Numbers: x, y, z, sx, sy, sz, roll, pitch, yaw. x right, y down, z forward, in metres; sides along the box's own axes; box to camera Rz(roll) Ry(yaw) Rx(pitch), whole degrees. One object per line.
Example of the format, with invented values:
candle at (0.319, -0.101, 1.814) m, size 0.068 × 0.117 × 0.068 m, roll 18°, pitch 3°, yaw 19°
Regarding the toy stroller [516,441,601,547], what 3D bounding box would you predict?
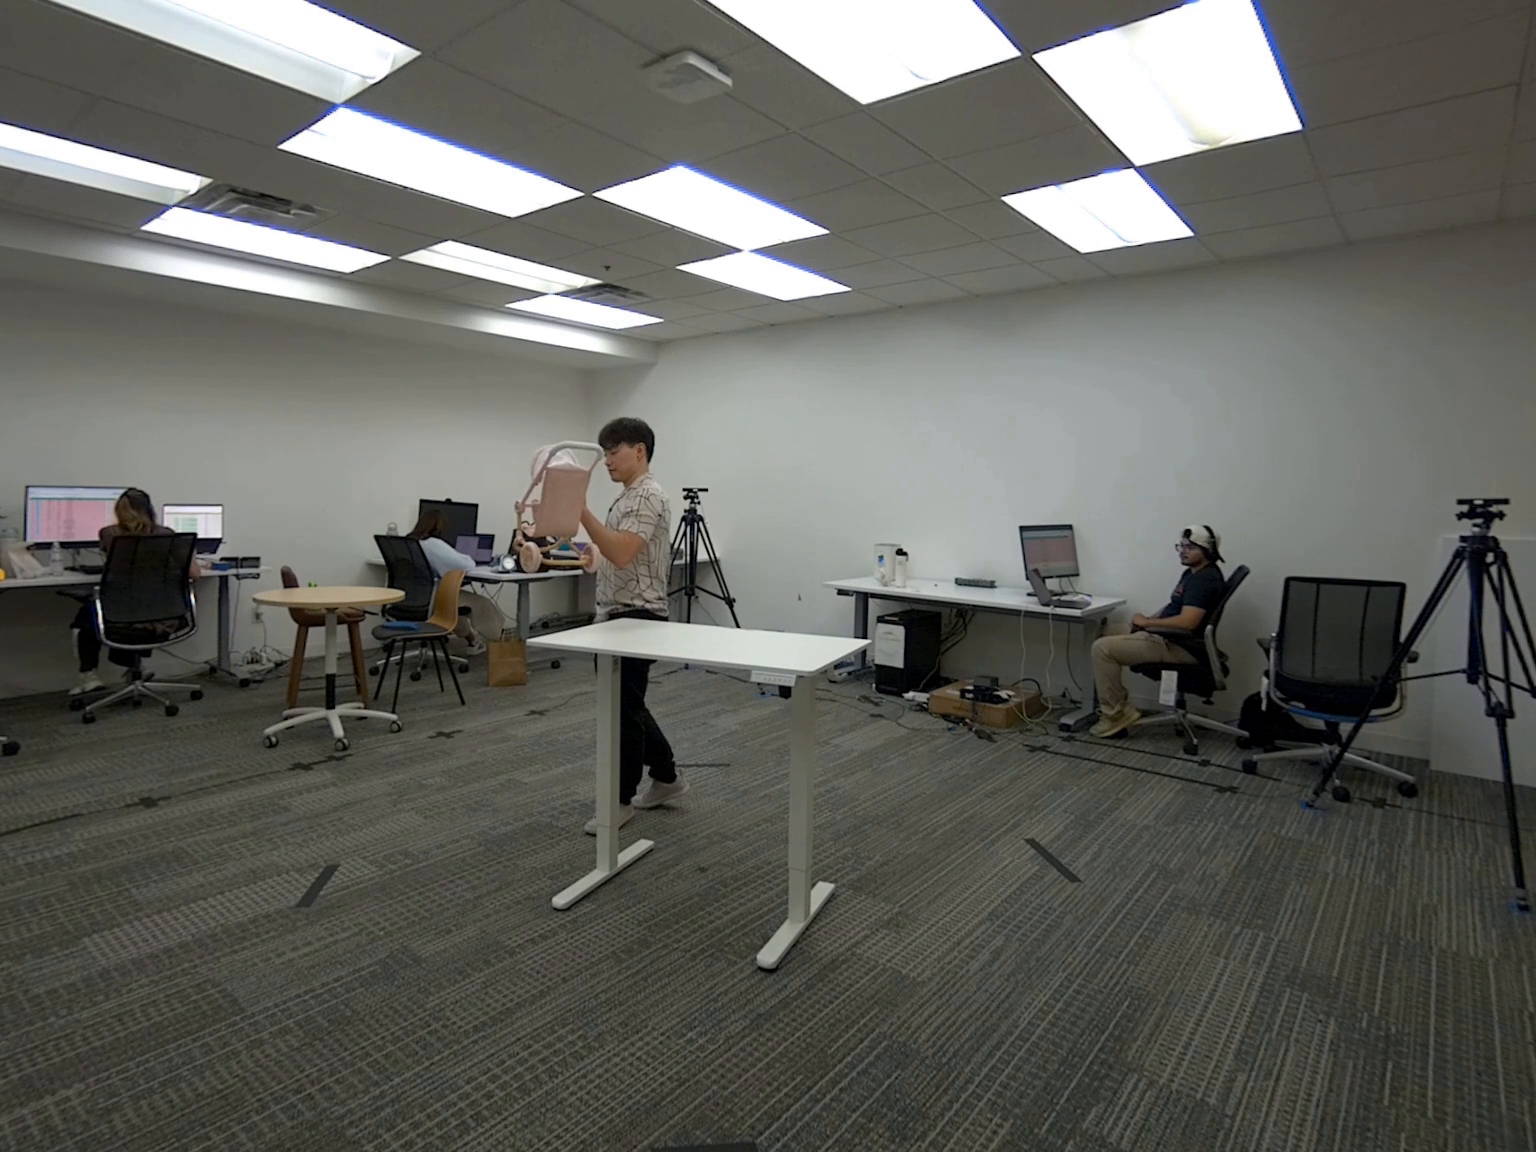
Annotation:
toy stroller at (-0.799, -0.242, 3.126) m, size 0.273 × 0.531 × 0.355 m, roll 1°, pitch 11°, yaw -38°
